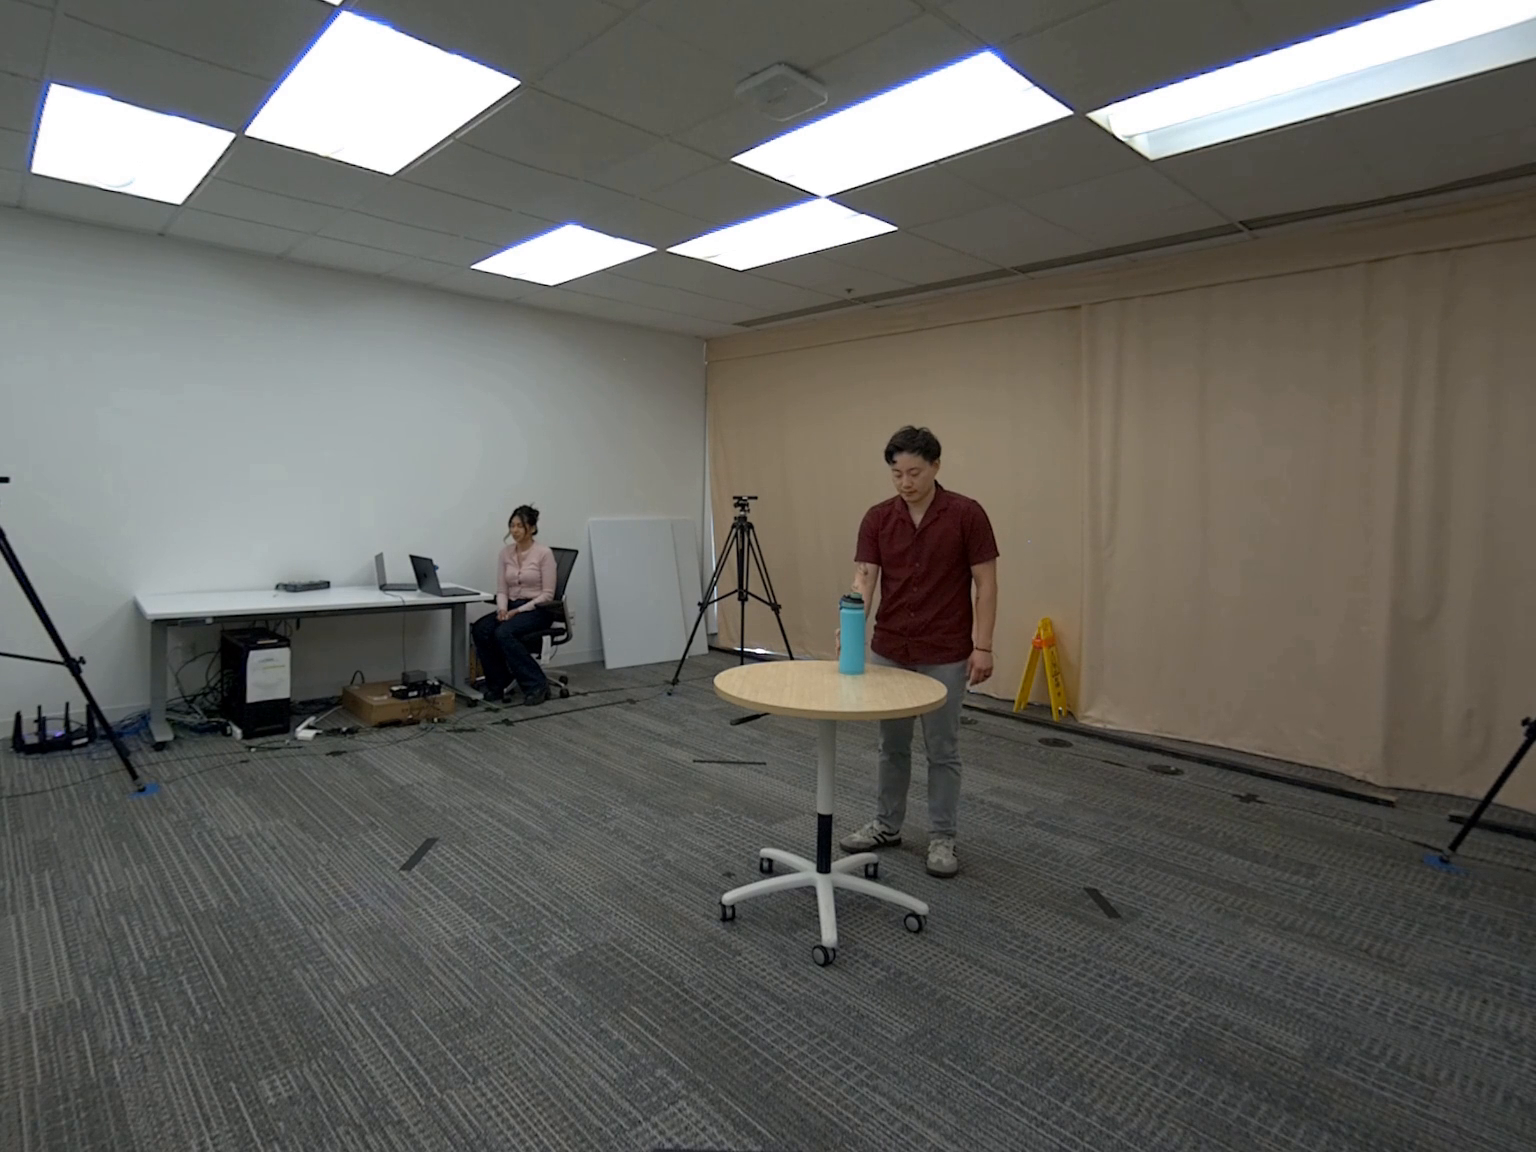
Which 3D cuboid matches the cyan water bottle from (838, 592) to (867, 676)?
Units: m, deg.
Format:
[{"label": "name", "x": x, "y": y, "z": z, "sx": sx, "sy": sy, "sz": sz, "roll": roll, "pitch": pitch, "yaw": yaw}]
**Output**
[{"label": "cyan water bottle", "x": 0.292, "y": 0.201, "z": 2.965, "sx": 0.092, "sy": 0.282, "sz": 0.093, "roll": 0, "pitch": 7, "yaw": -1}]
